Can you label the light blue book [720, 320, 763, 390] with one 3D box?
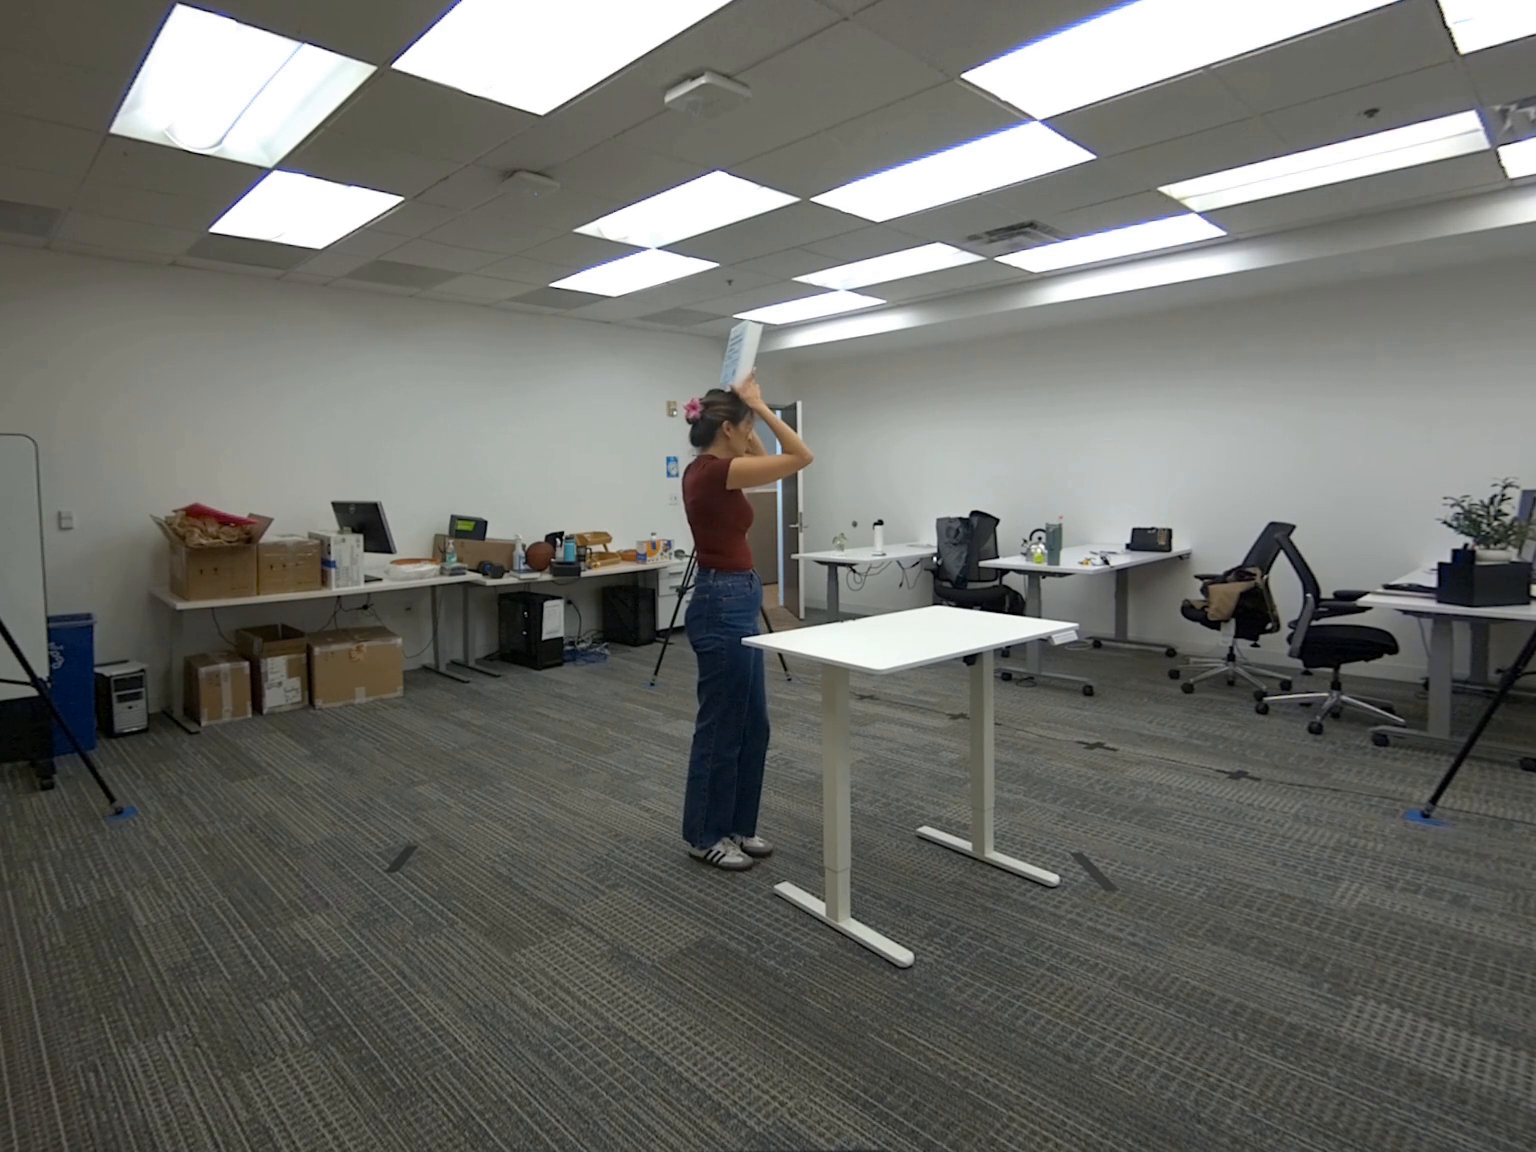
[{"bbox_3d":[-0.103,-0.776,3.085,0.058,0.261,0.195,14,-3,-22],"label":"light blue book"}]
